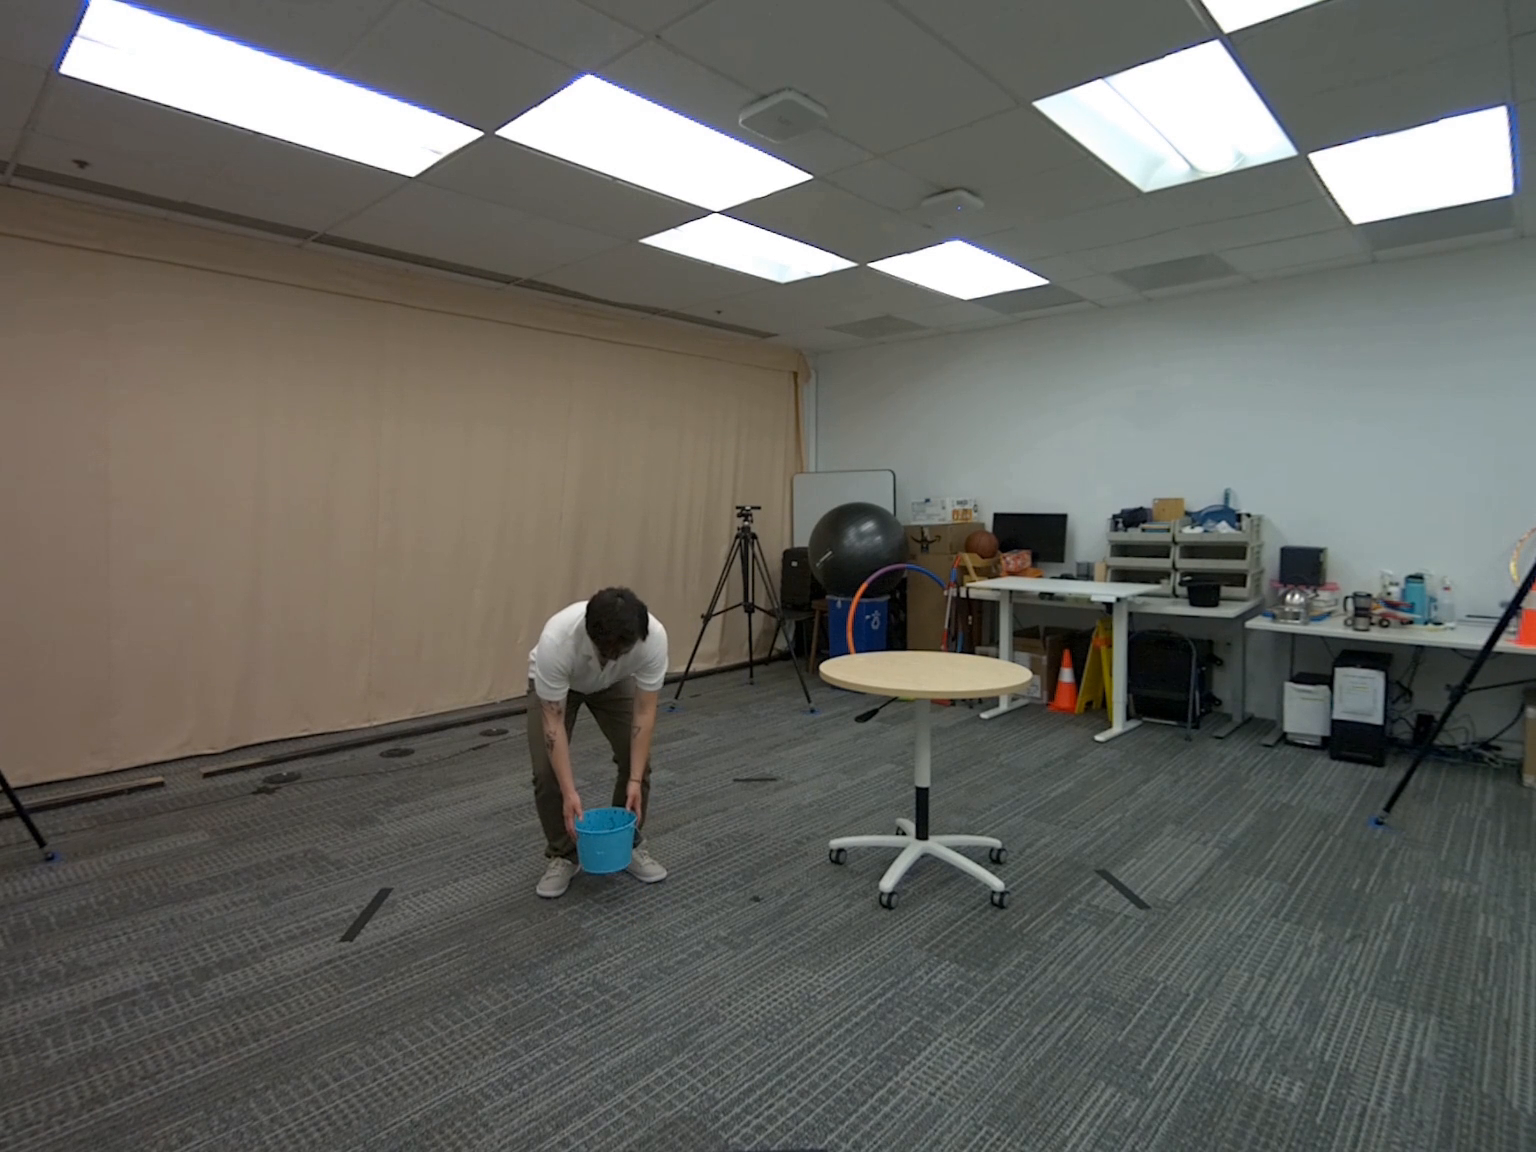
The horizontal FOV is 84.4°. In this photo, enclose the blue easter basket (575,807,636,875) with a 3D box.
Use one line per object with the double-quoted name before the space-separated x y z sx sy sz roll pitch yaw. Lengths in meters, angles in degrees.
"blue easter basket" -0.567 0.924 2.954 0.243 0.155 0.244 -3 5 -2
